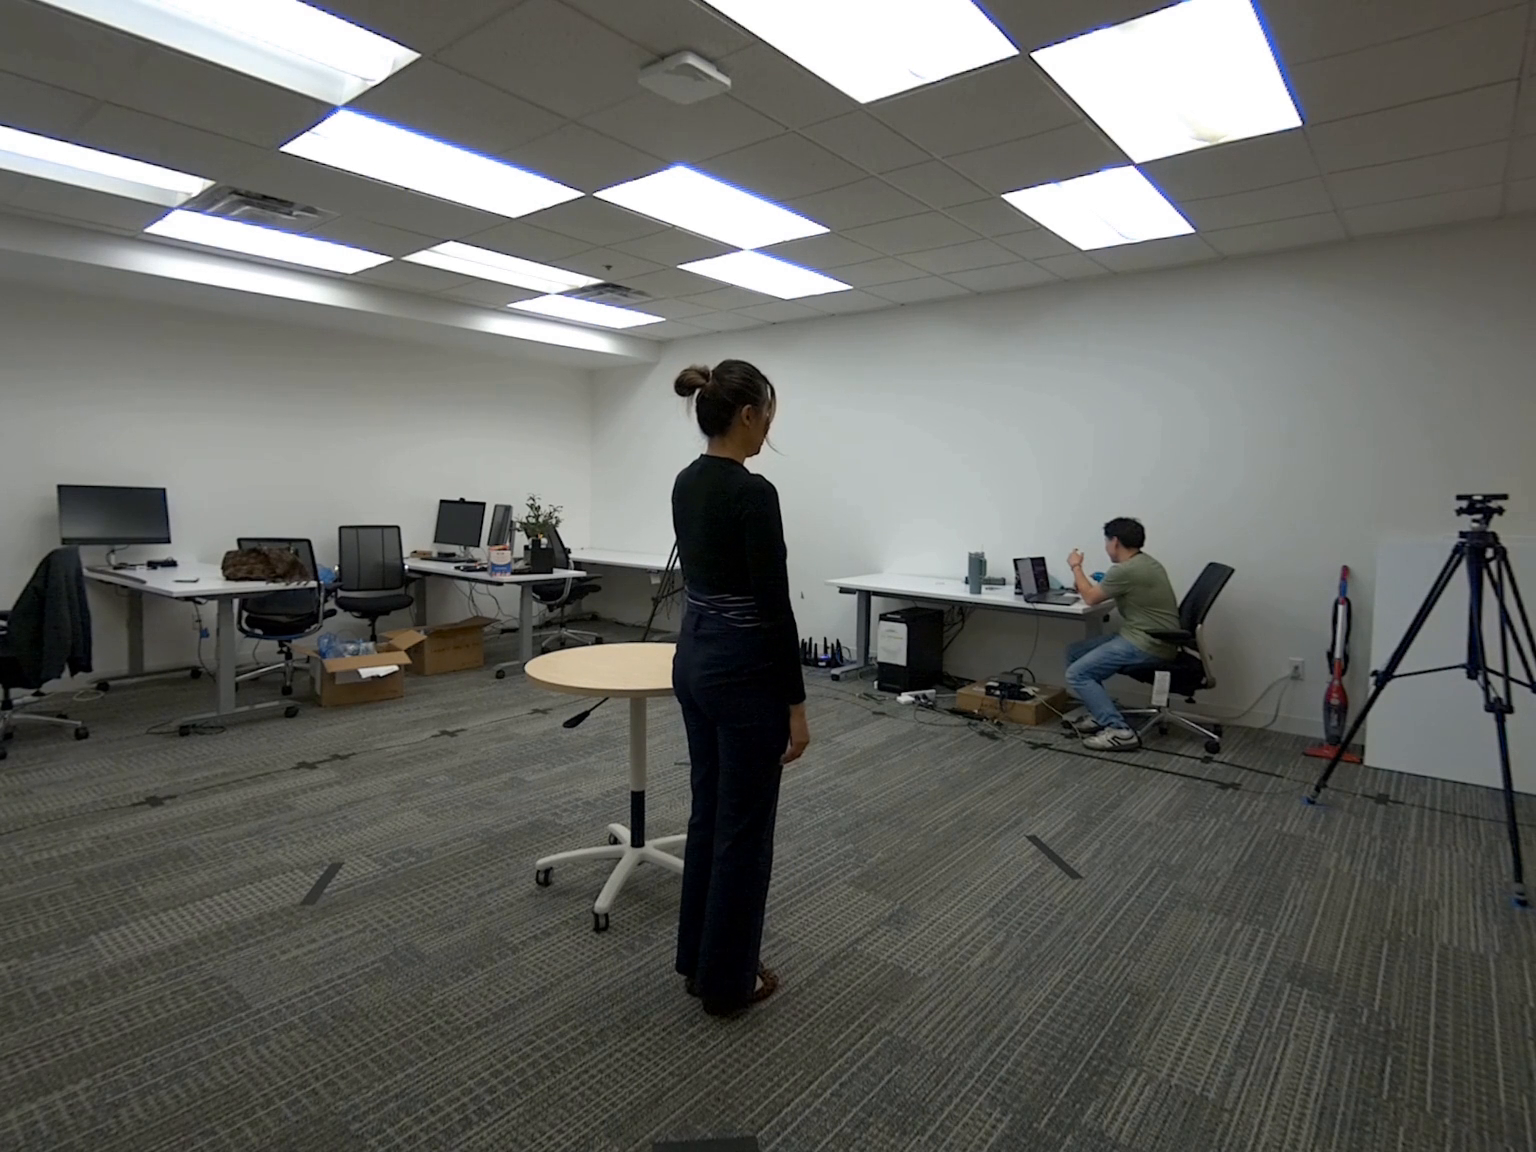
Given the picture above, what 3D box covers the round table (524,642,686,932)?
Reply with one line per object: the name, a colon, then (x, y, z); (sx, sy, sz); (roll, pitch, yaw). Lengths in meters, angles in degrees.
round table: (-0.465, 0.690, 2.954); (0.763, 0.791, 0.768); (0, 4, -2)
